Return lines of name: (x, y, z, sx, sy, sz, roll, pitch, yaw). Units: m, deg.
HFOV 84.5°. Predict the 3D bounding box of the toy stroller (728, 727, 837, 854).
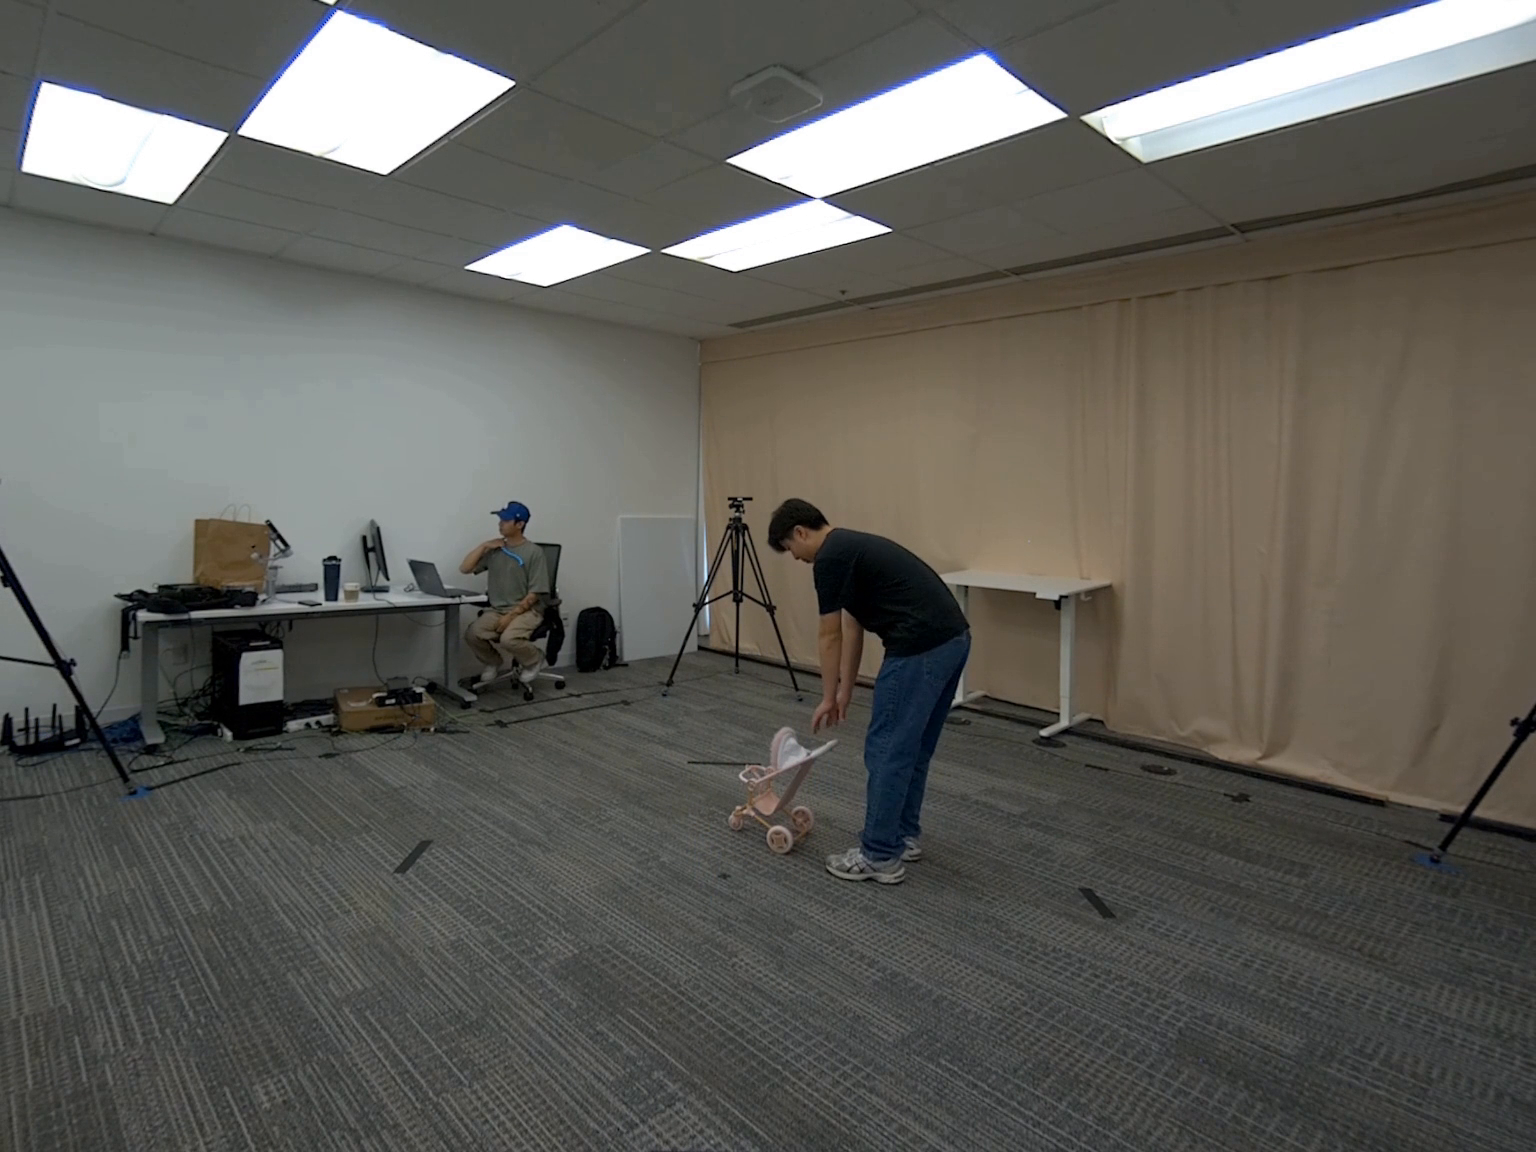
toy stroller: (0.037, 0.858, 3.453, 0.350, 0.532, 0.276, 21, 12, 28)
